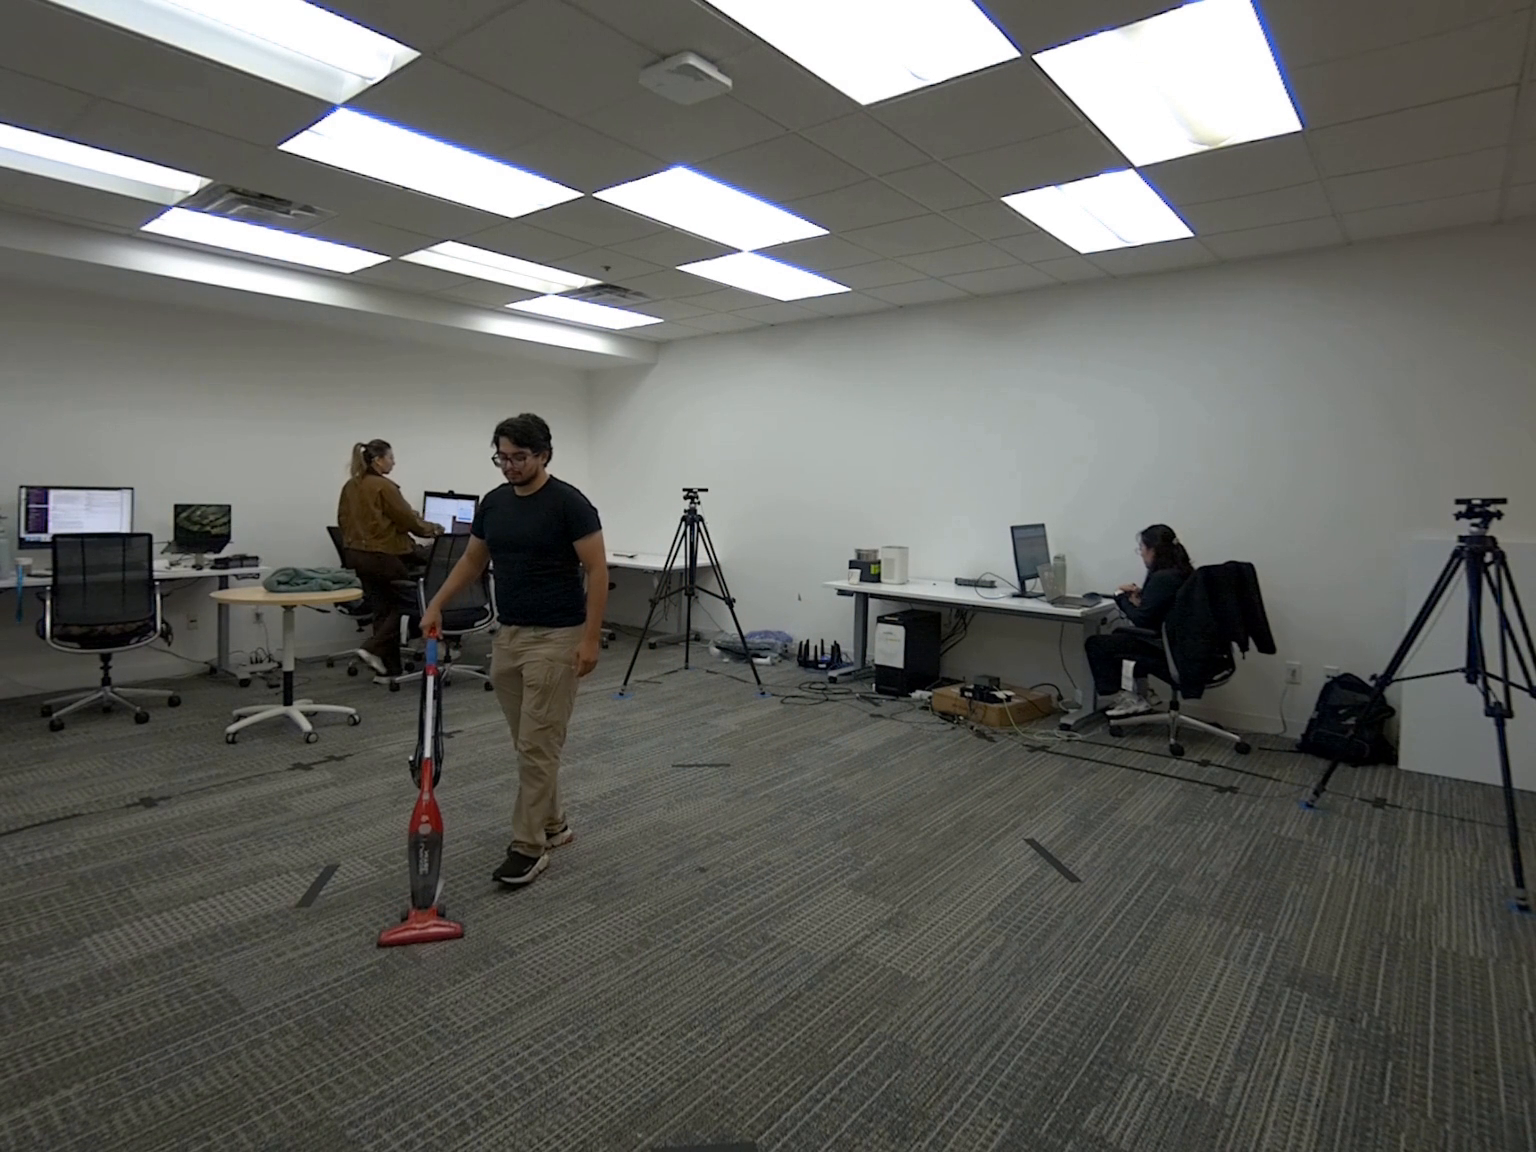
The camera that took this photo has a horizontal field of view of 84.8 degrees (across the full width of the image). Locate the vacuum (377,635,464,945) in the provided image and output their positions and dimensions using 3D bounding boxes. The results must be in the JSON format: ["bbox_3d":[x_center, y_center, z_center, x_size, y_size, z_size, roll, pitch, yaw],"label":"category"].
[{"bbox_3d":[-1.174,0.642,2.902,0.248,1.081,0.142,-2,-32,-17],"label":"vacuum"}]
